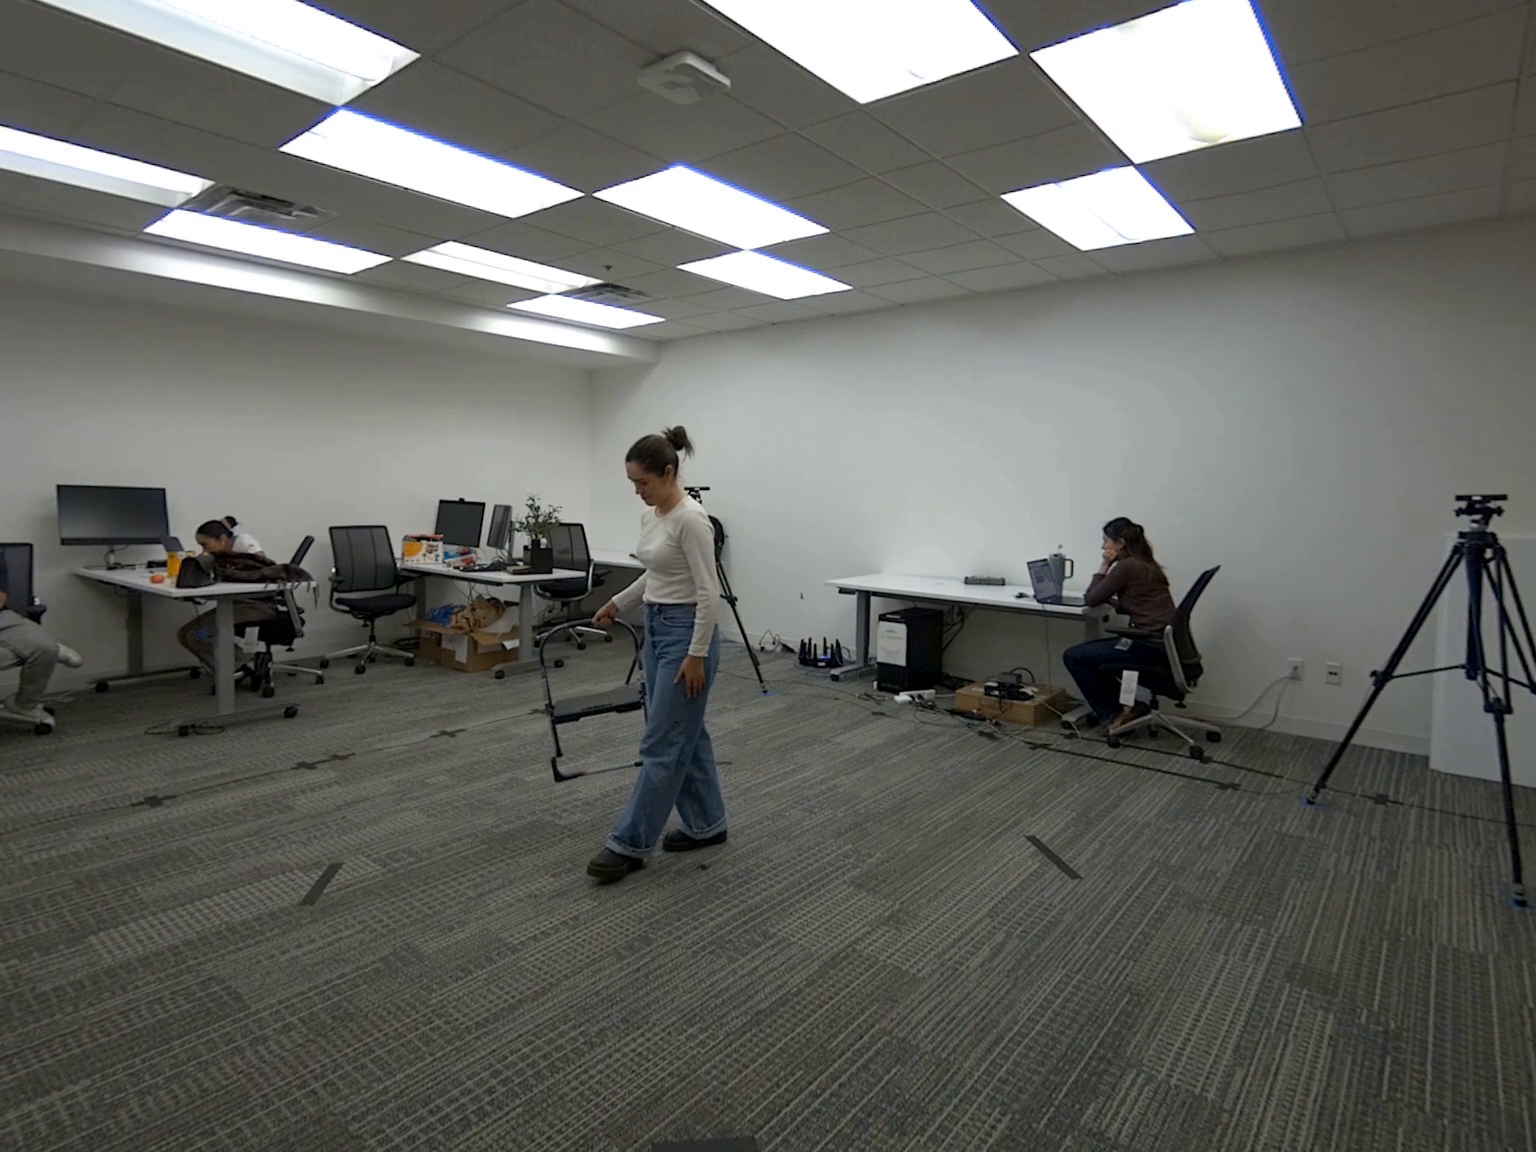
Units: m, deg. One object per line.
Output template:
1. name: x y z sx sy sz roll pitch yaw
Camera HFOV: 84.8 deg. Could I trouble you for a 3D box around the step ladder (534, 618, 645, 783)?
1. step ladder: -0.735 0.471 3.514 0.427 0.602 0.355 -9 7 -10
